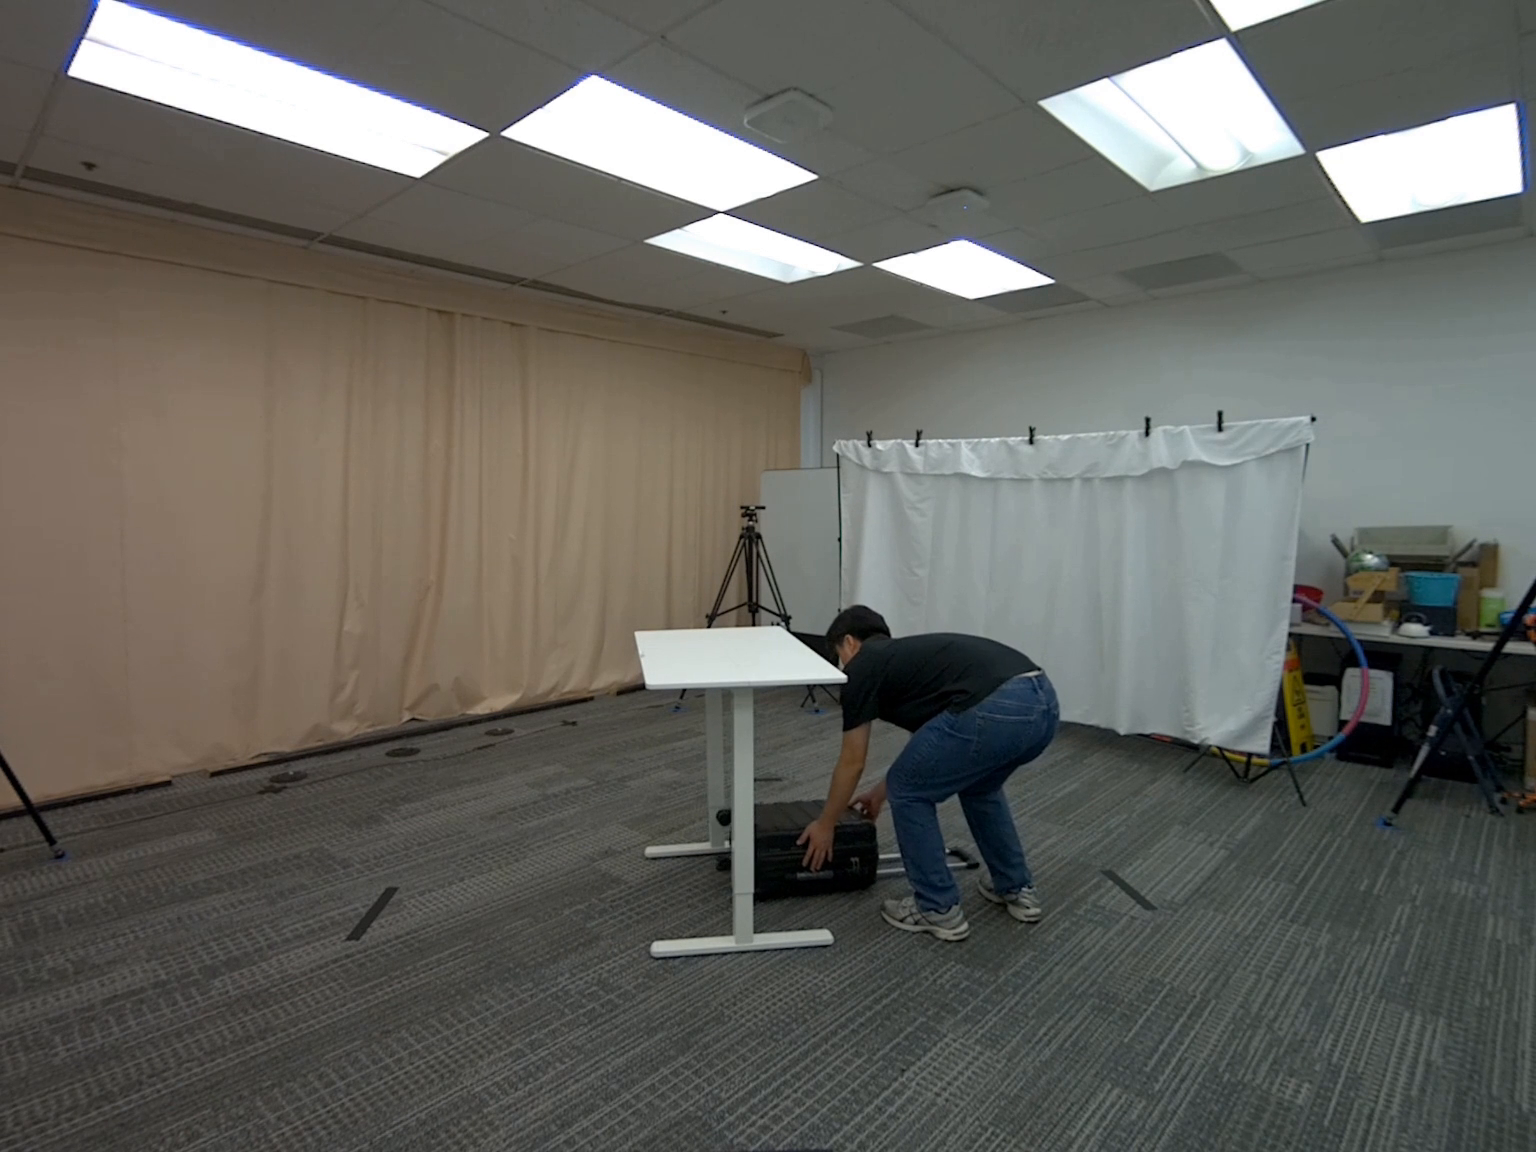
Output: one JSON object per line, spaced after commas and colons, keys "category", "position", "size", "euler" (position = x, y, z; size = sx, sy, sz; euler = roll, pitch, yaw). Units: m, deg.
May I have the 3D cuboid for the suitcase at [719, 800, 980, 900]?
{"category": "suitcase", "position": [0.317, 0.998, 3.179], "size": [0.965, 0.257, 0.390], "euler": [-2, 2, -14]}
